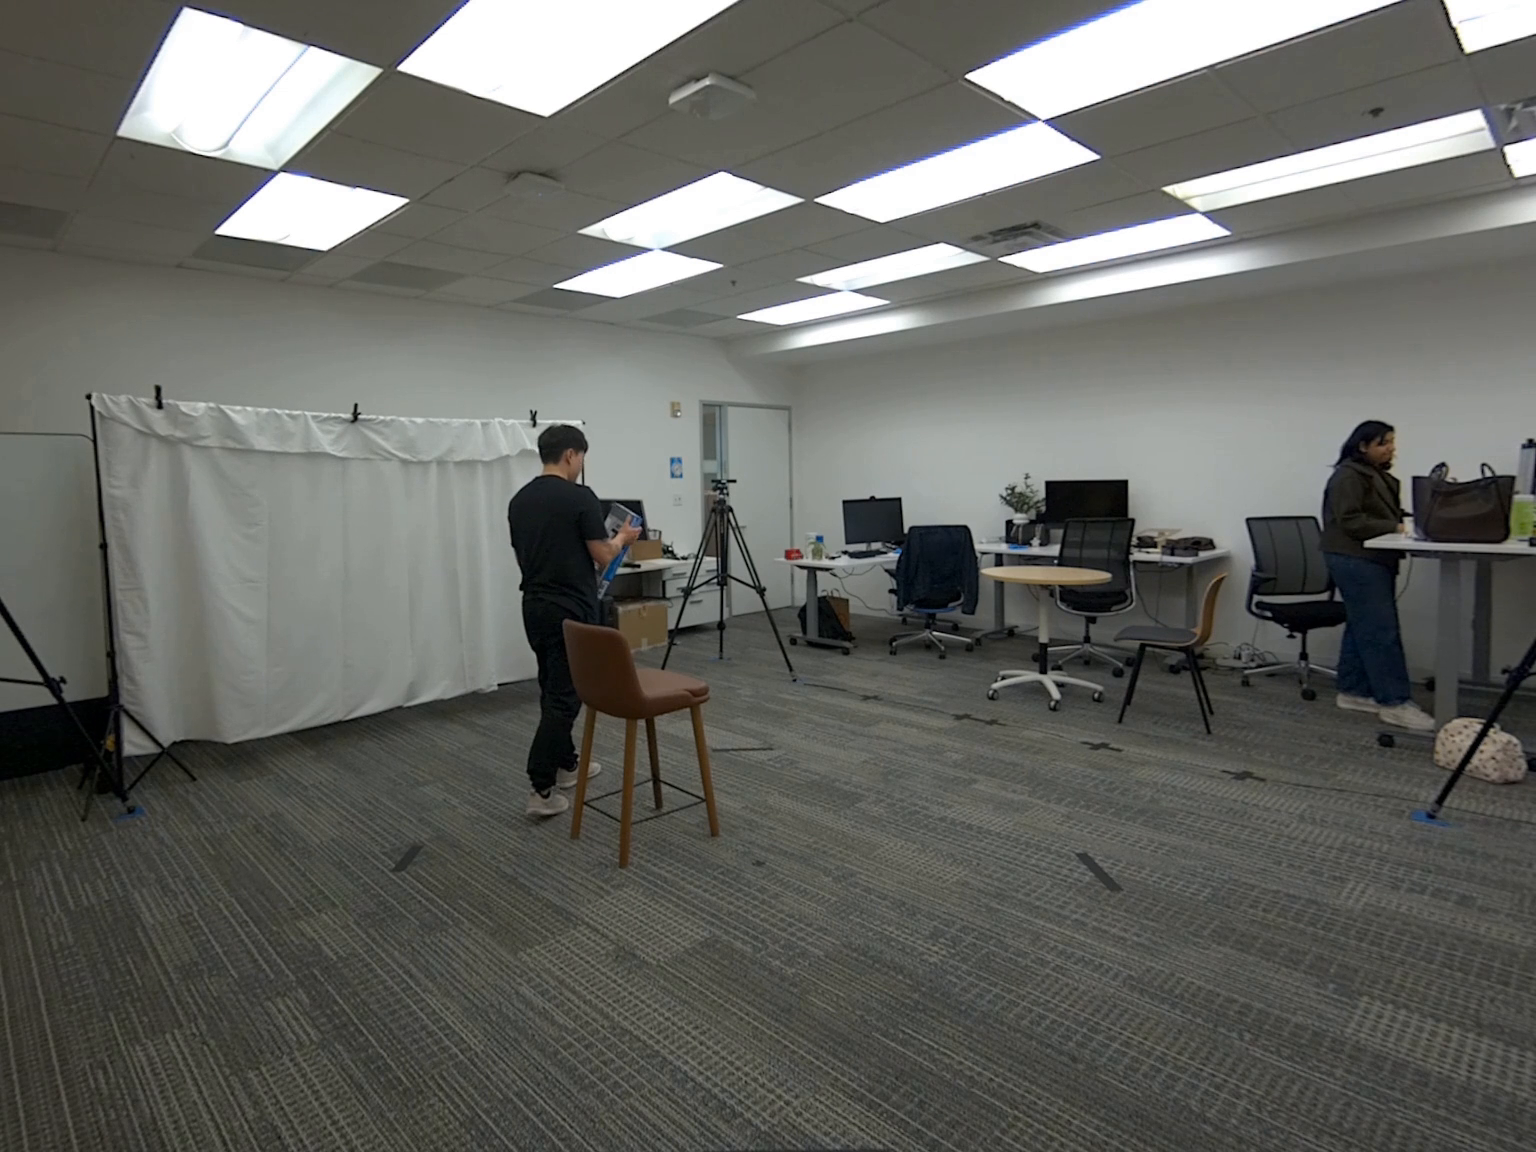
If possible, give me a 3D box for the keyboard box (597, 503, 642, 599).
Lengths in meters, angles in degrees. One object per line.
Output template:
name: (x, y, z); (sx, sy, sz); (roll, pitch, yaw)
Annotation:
keyboard box: (-0.762, -0.110, 4.040); (0.183, 0.436, 0.057); (31, 5, 41)
